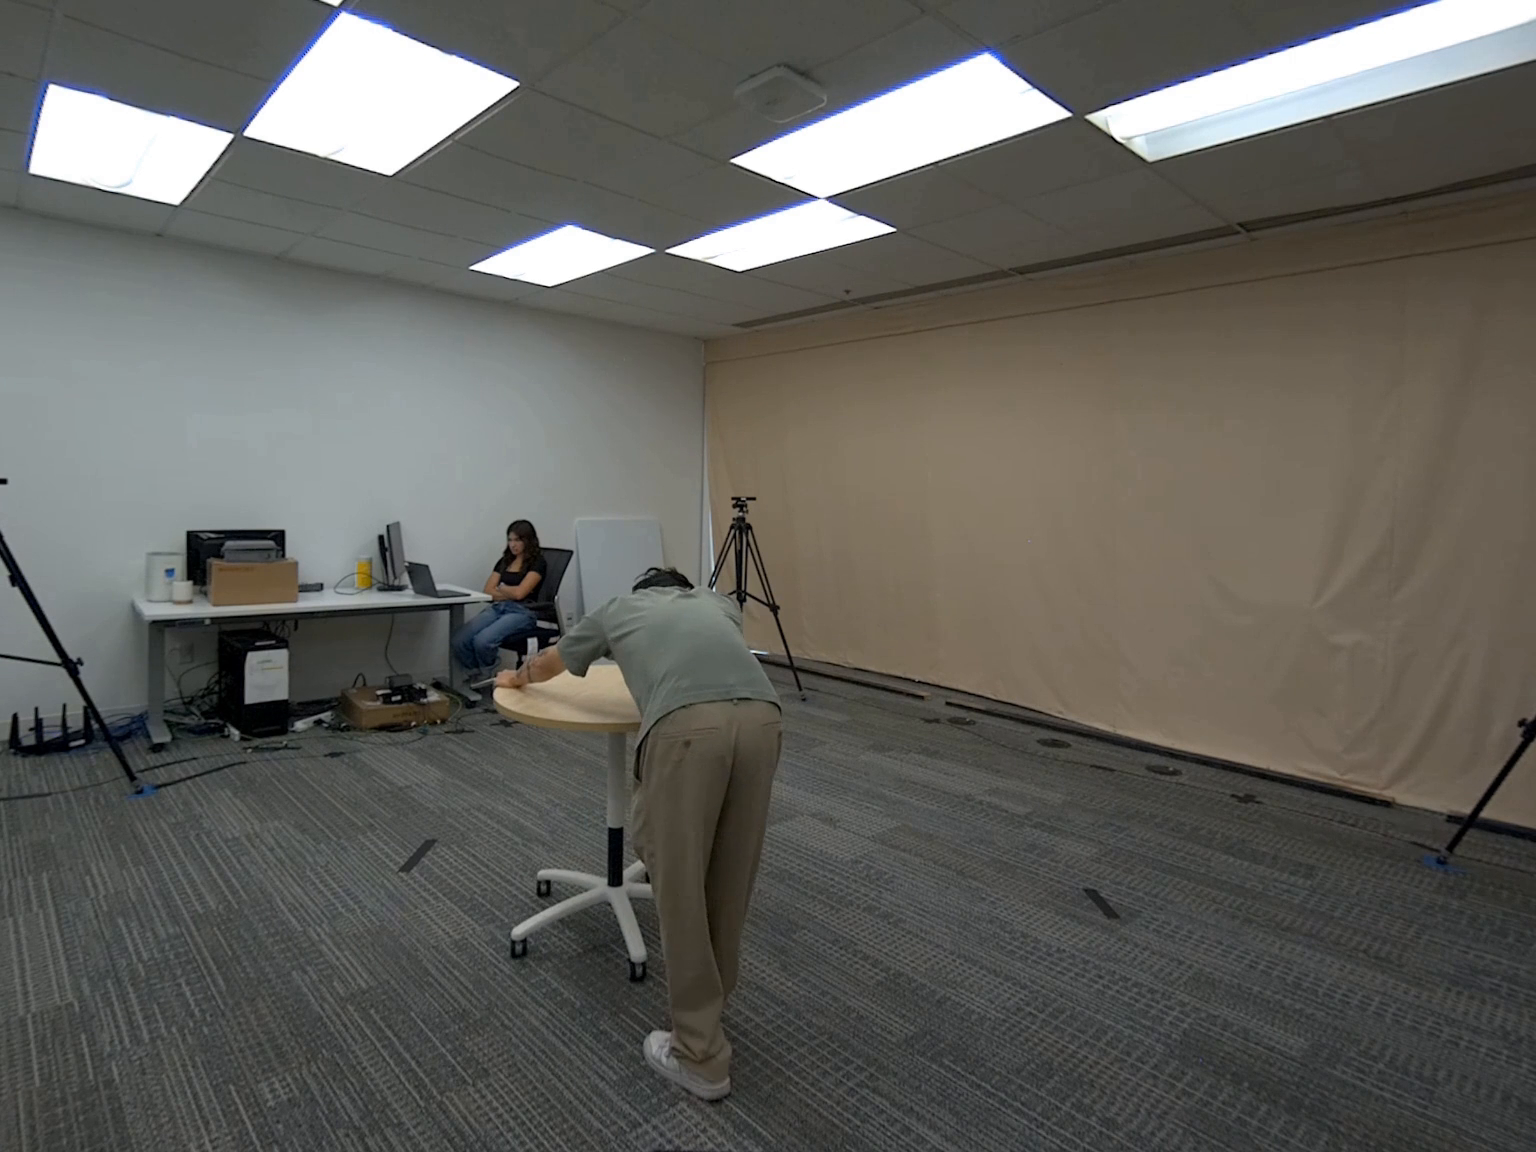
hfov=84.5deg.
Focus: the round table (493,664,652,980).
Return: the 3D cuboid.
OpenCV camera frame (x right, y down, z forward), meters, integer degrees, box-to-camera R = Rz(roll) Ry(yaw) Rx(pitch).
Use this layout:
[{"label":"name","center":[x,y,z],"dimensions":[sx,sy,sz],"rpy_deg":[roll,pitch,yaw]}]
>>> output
[{"label":"round table","center":[-0.513,0.751,2.702],"dimensions":[0.784,0.784,0.787],"rpy_deg":[2,4,-1]}]
